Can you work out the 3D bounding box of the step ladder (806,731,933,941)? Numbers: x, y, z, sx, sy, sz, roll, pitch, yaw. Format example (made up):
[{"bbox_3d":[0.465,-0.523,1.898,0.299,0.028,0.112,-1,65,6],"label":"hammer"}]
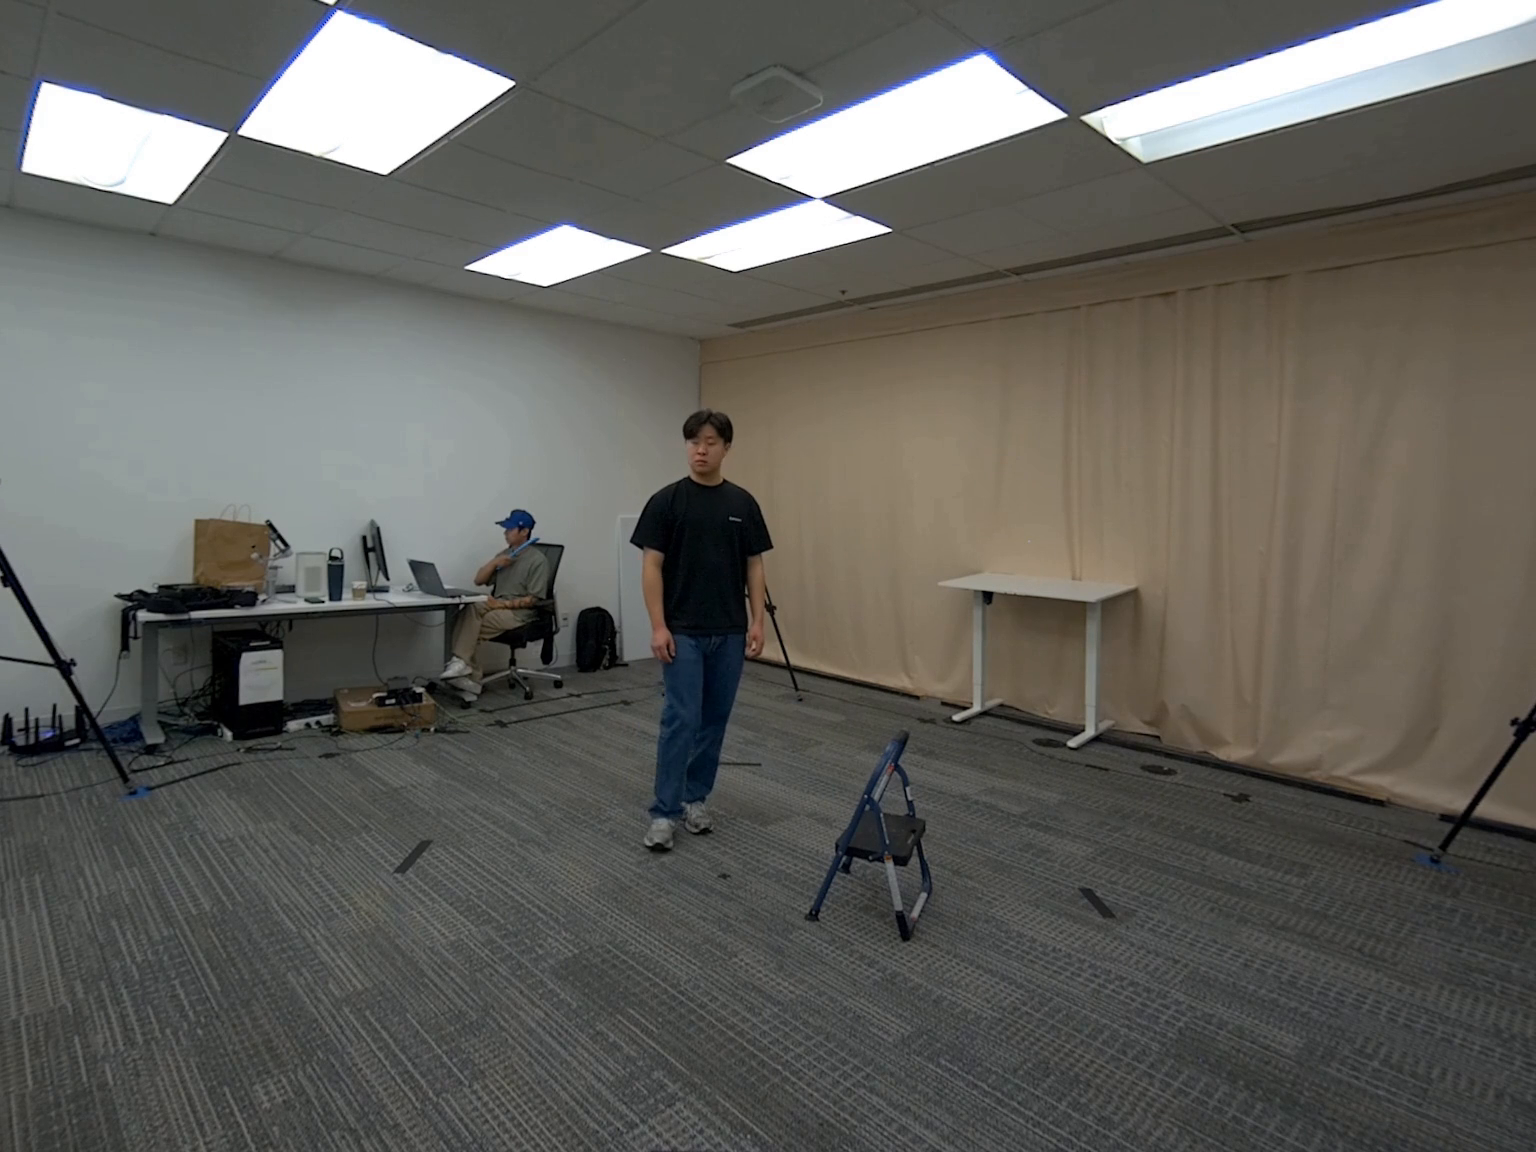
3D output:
[{"bbox_3d":[0.365,0.836,2.900,0.355,0.604,0.424,3,4,21],"label":"step ladder"}]
